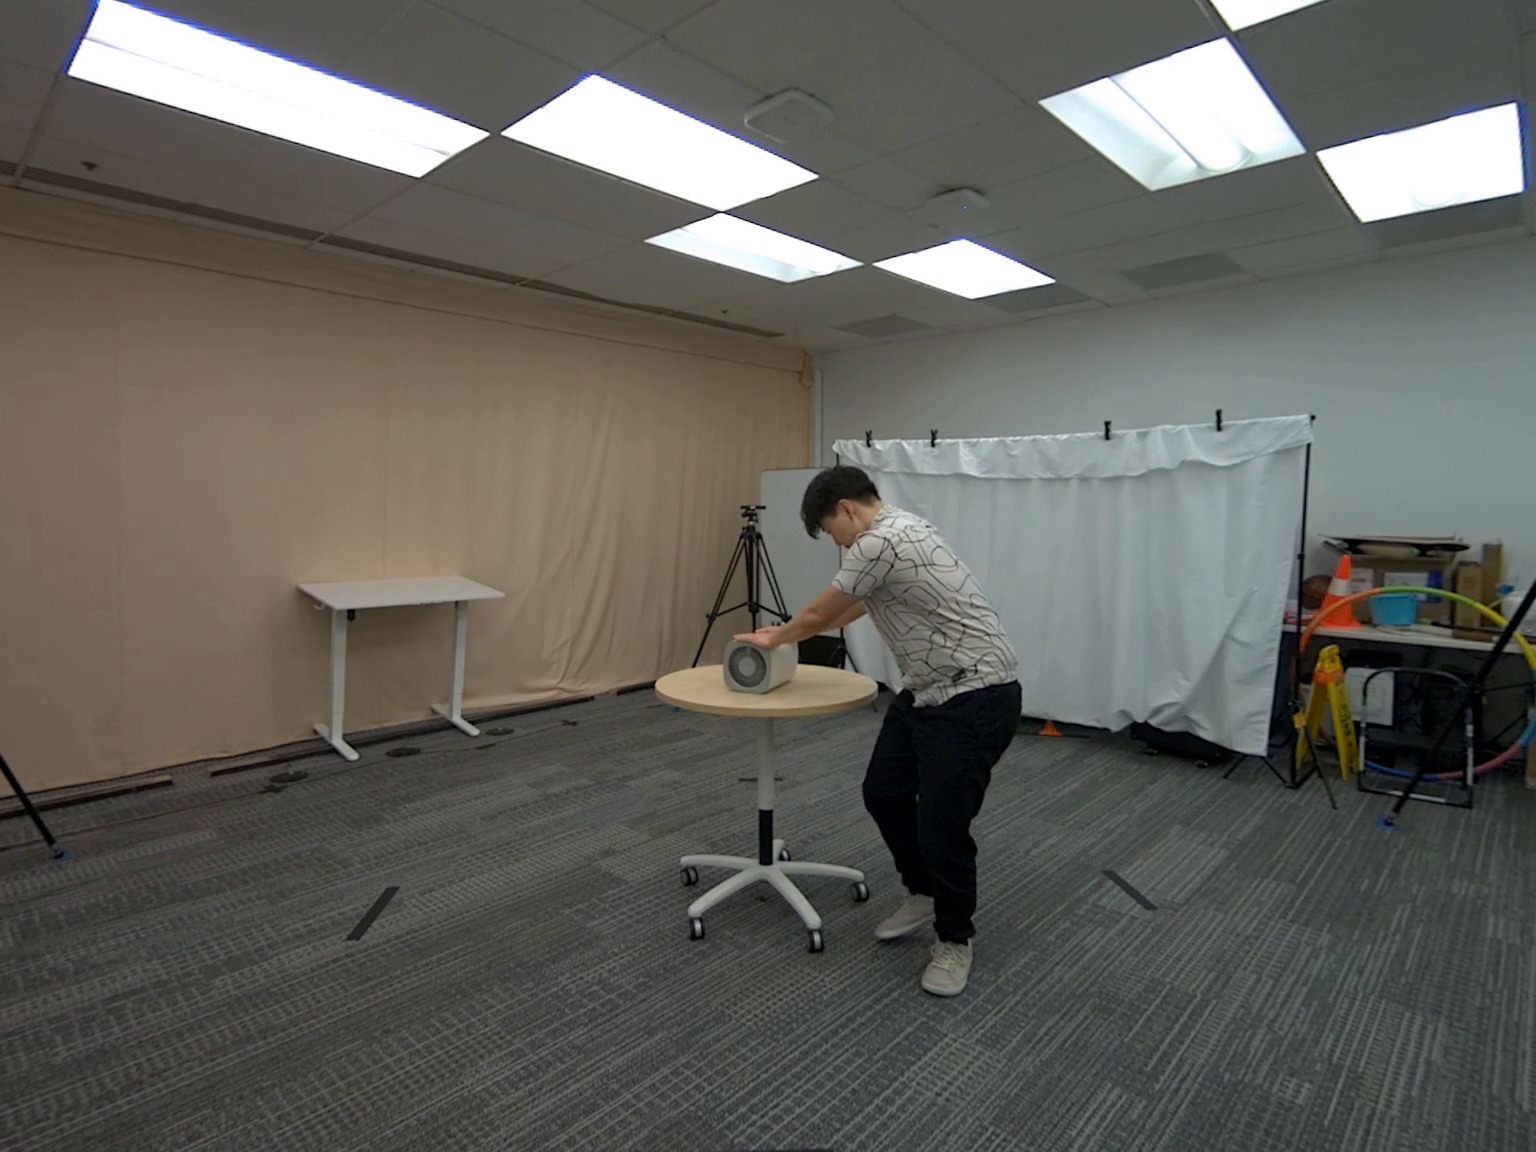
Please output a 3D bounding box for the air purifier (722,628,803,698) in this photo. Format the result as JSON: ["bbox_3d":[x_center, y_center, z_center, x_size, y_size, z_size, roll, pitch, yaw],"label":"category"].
[{"bbox_3d":[-0.016,0.287,2.872,0.175,0.171,0.259,5,5,24],"label":"air purifier"}]
